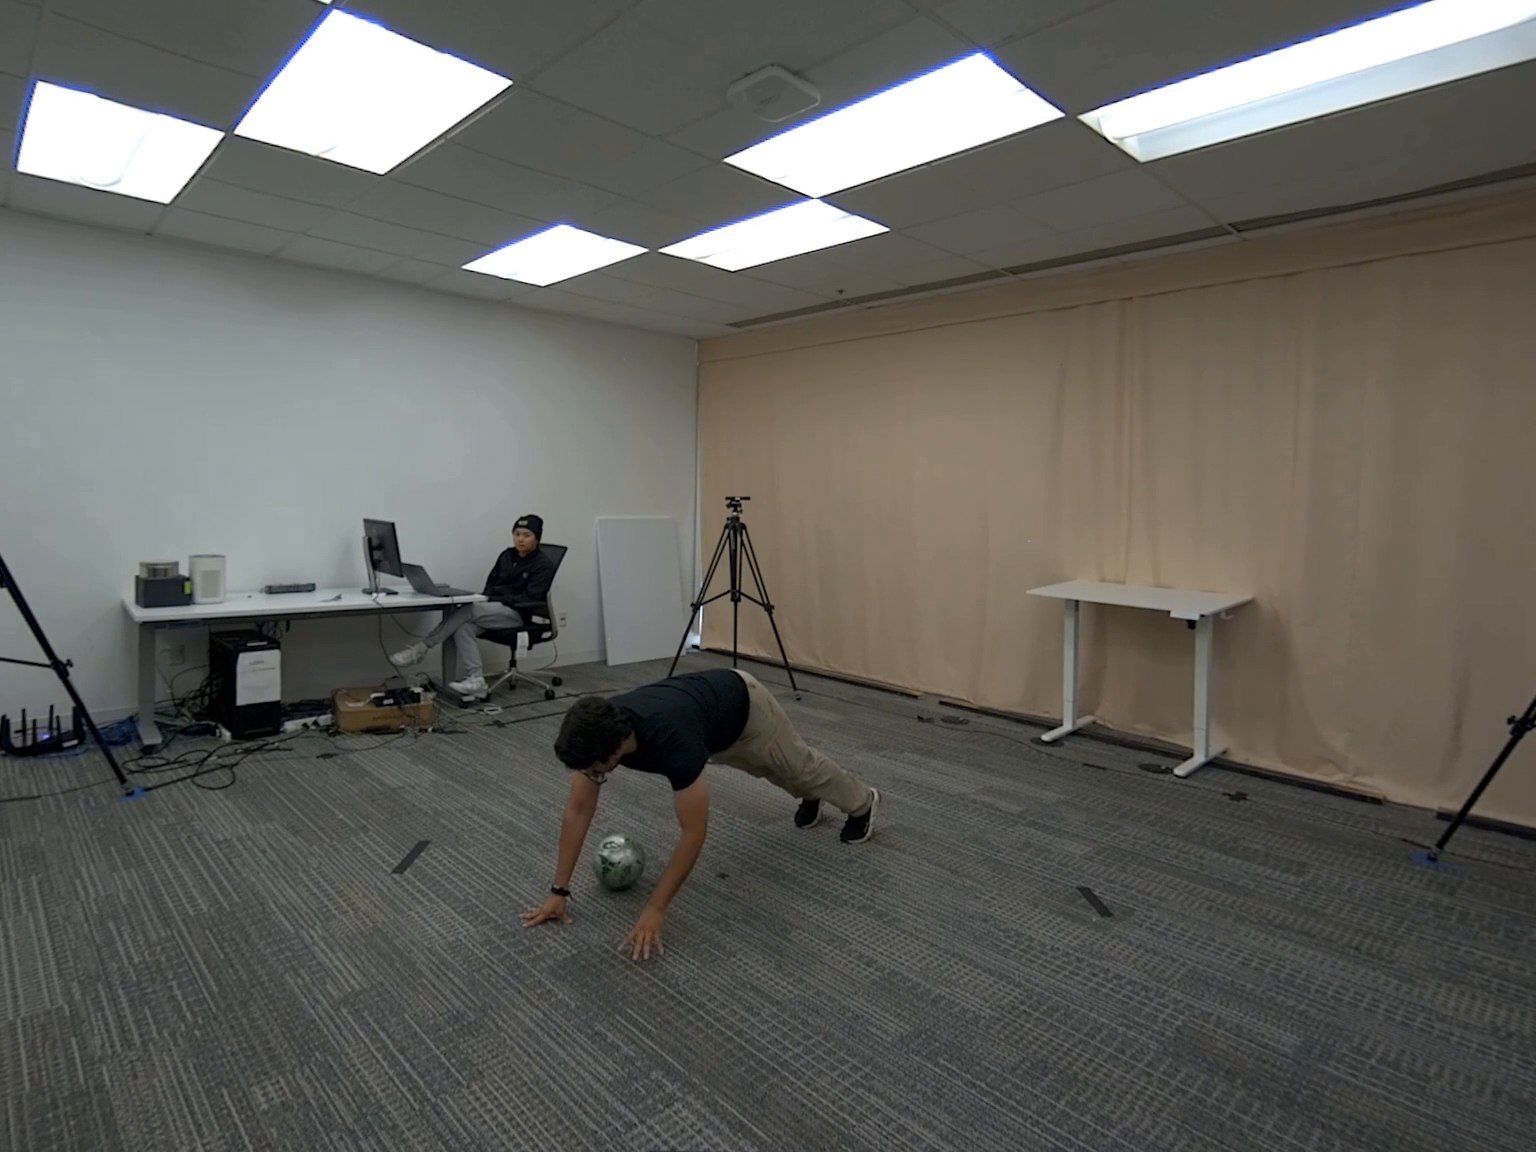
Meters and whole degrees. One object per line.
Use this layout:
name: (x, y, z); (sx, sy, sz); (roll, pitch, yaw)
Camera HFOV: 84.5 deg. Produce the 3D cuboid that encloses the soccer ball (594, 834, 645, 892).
soccer ball: (-0.535, 1.019, 2.991); (0.187, 0.187, 0.188); (1, 4, -1)
